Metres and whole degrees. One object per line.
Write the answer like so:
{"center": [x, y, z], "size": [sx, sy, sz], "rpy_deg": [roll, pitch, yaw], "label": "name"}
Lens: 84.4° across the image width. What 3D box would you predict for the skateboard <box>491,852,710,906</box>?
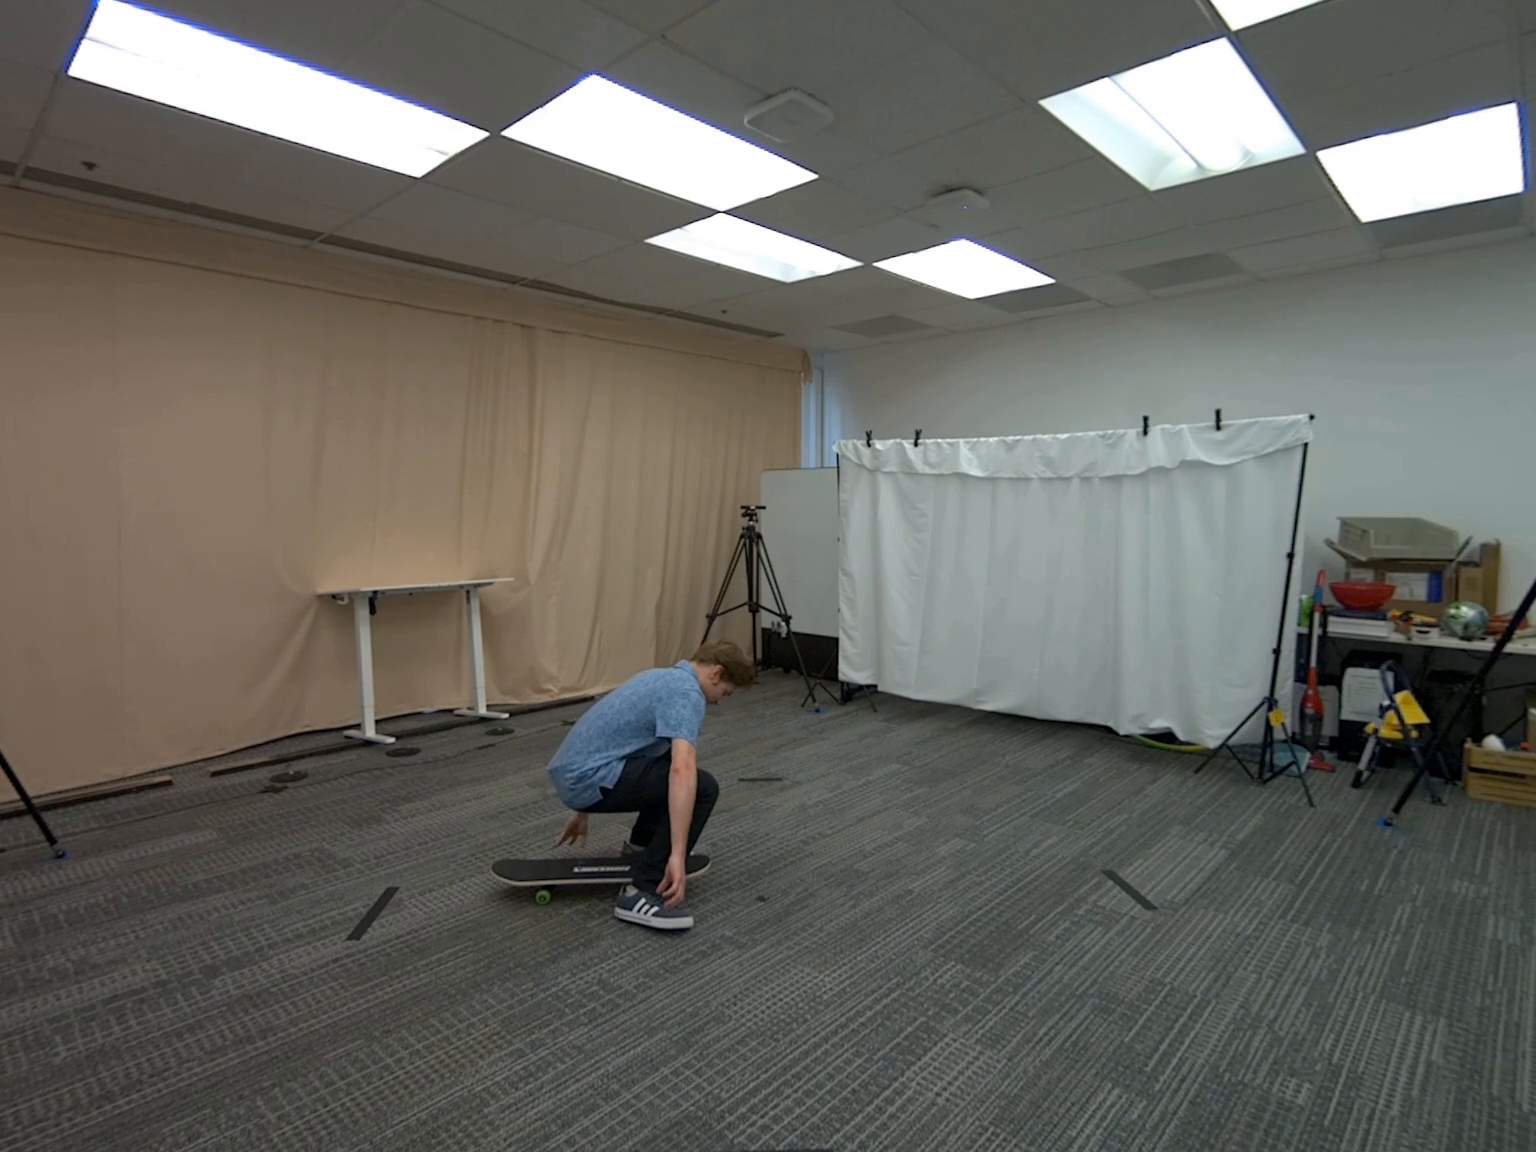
{"center": [-0.601, 1.085, 3.041], "size": [0.783, 0.110, 0.194], "rpy_deg": [-1, 4, -3], "label": "skateboard"}
